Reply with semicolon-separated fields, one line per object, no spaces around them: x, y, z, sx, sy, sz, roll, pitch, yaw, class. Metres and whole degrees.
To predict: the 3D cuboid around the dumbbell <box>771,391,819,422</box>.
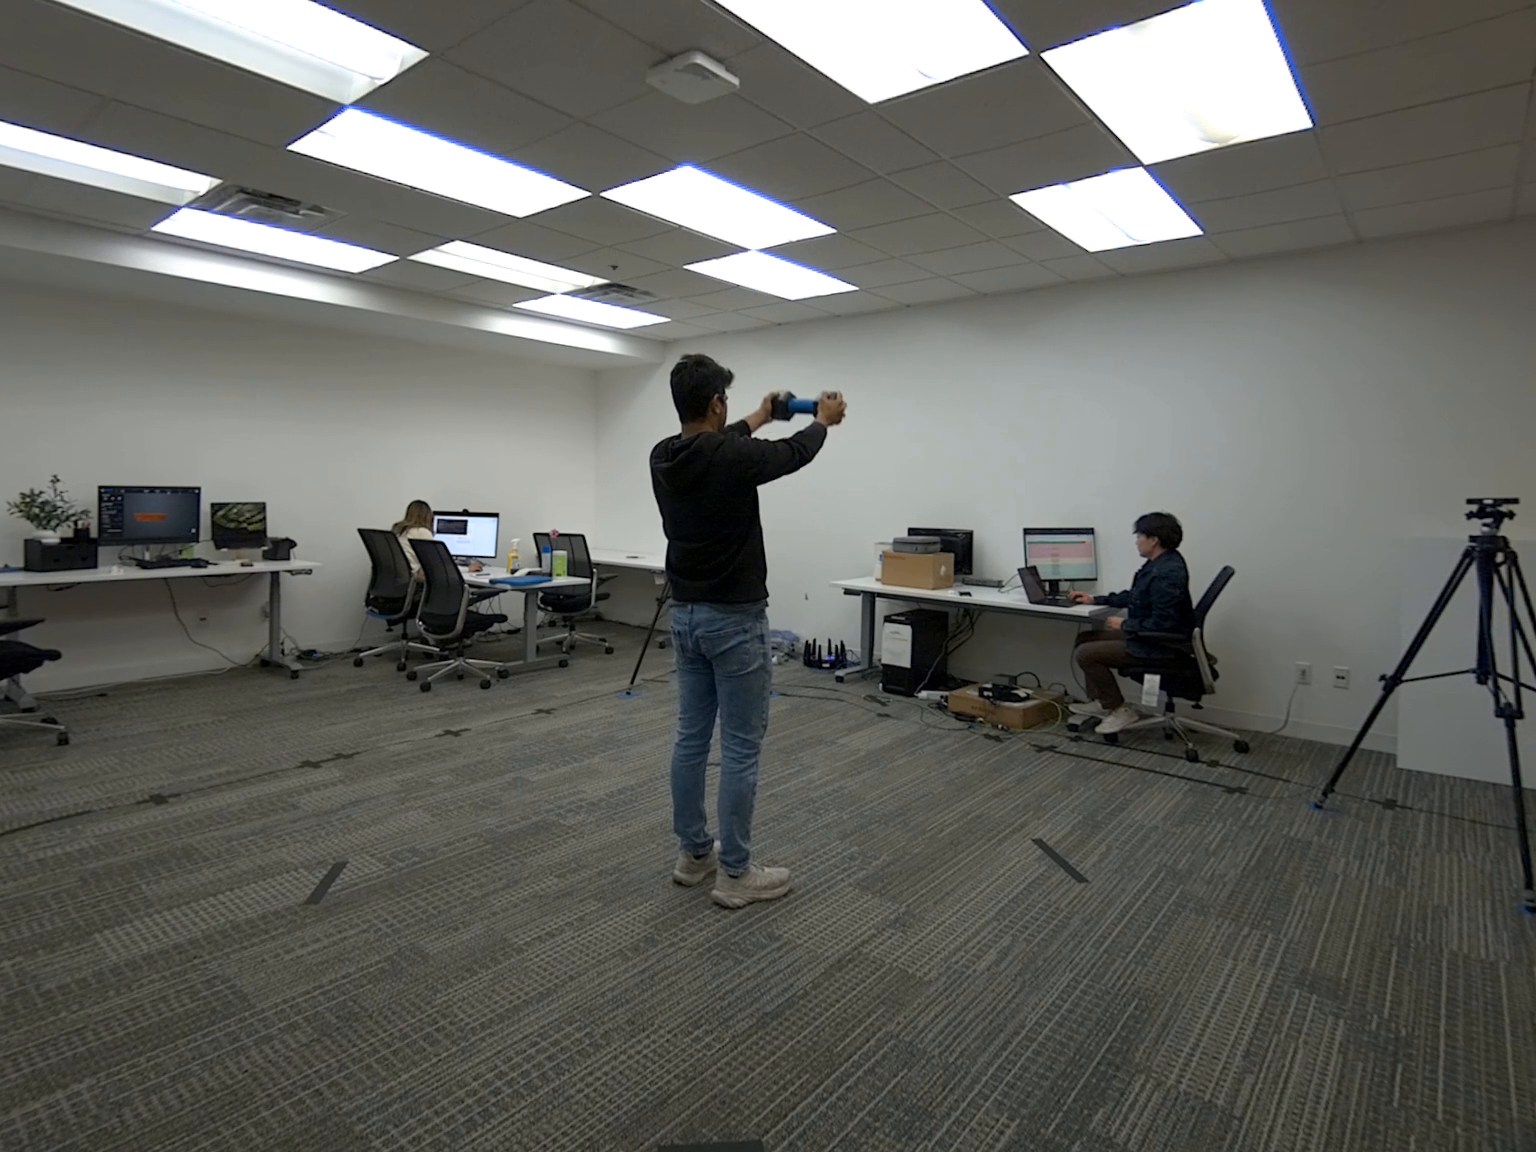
0.125;-0.640;3.283;0.304;0.122;0.106;9;14;41;dumbbell
